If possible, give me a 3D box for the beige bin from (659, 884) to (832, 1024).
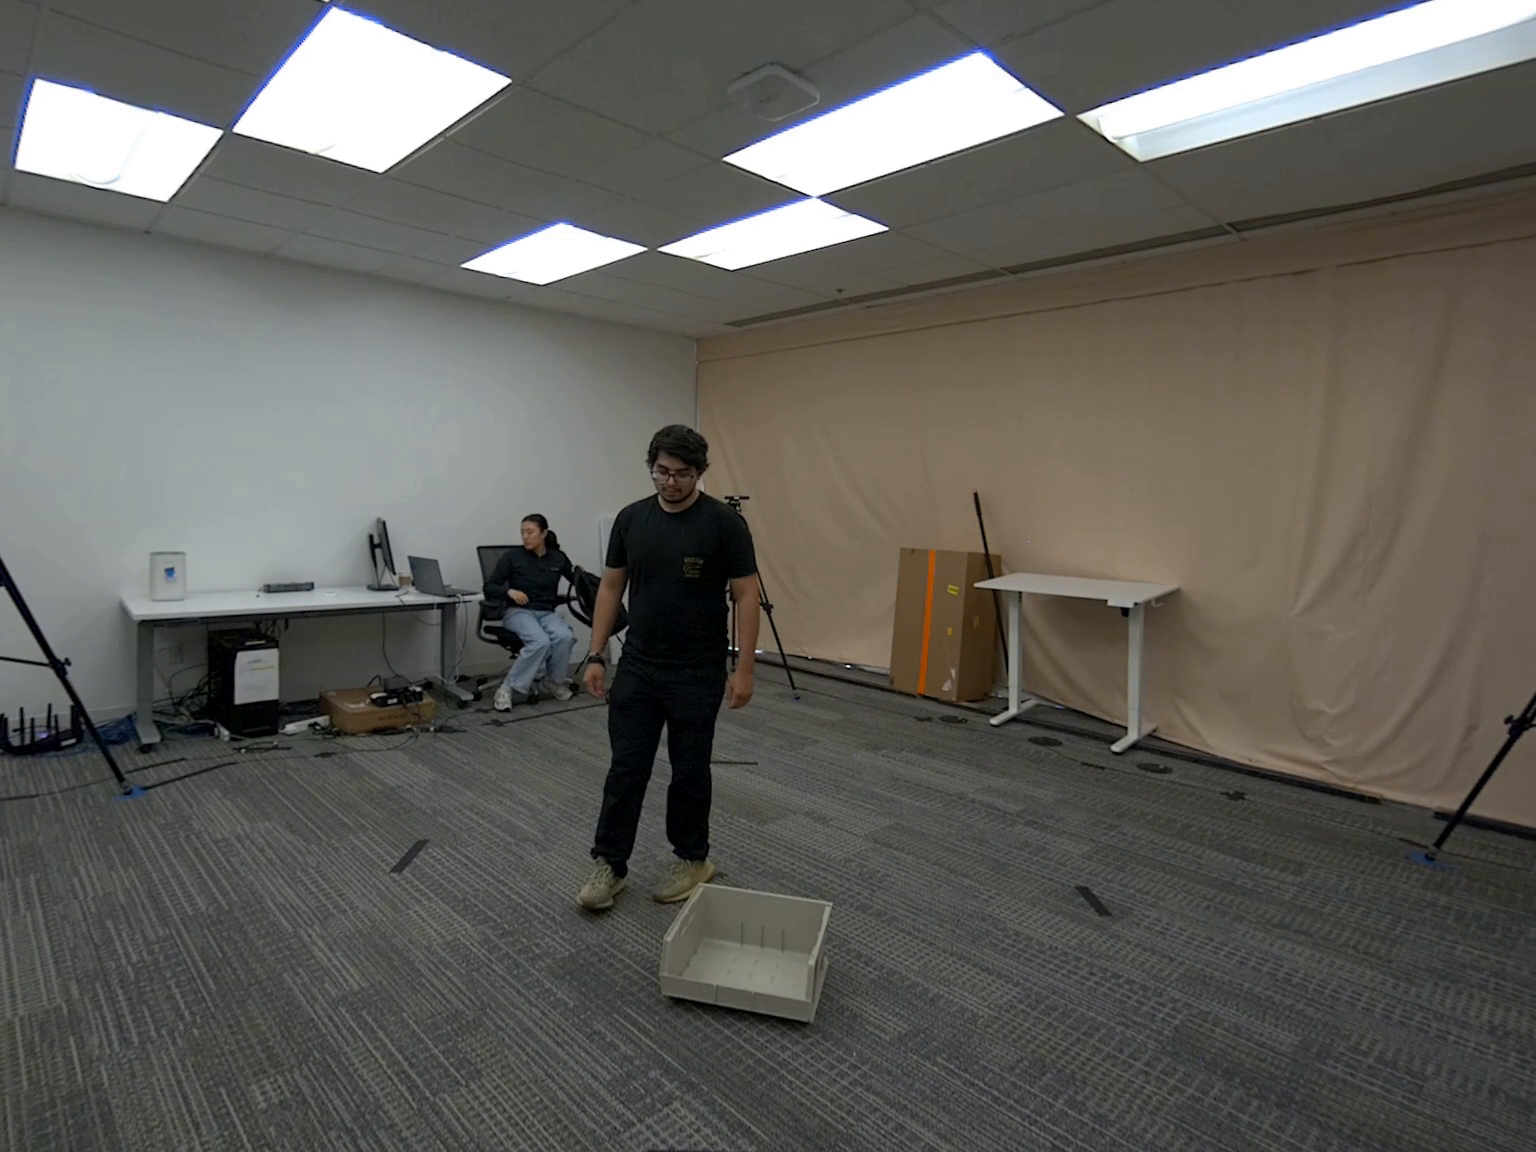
[{"bbox_3d":[-0.053,1.083,2.410,0.427,0.188,0.374,2,4,13],"label":"beige bin"}]
